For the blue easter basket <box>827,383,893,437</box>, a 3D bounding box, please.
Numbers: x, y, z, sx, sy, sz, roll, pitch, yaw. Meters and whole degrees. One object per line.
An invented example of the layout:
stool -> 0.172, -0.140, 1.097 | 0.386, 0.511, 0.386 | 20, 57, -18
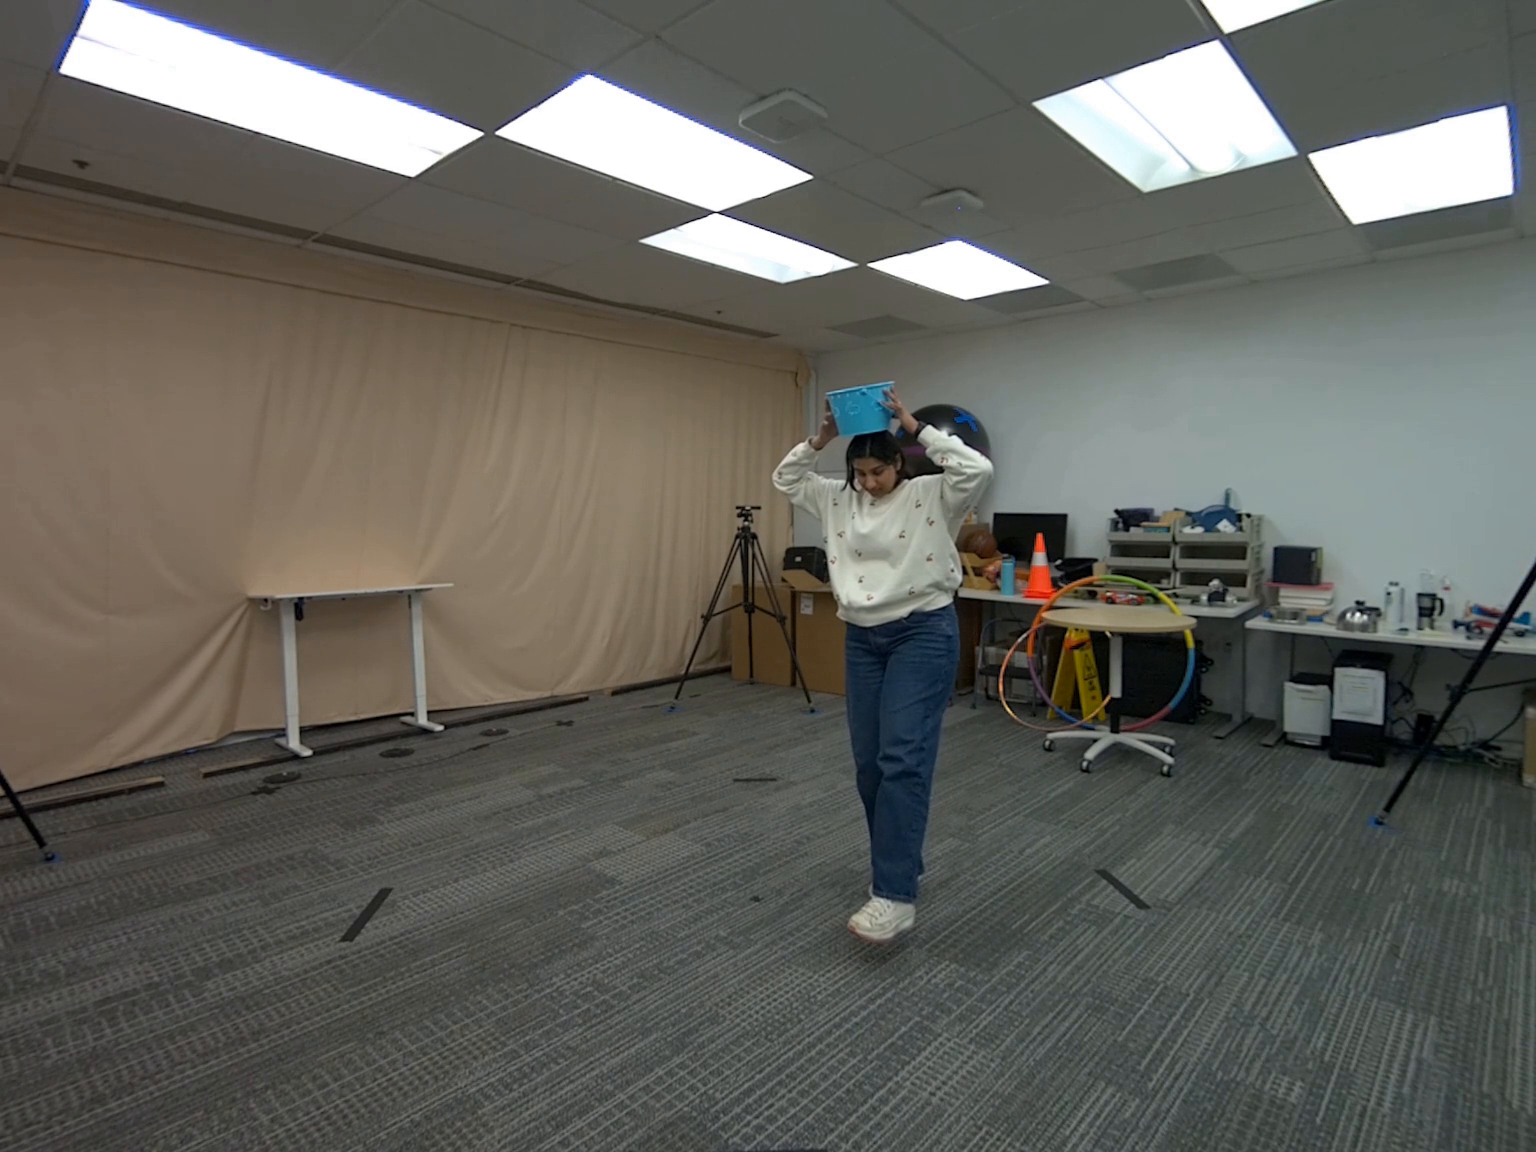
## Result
blue easter basket -> 0.339, -0.568, 2.875 | 0.244, 0.154, 0.245 | -10, 11, 0
